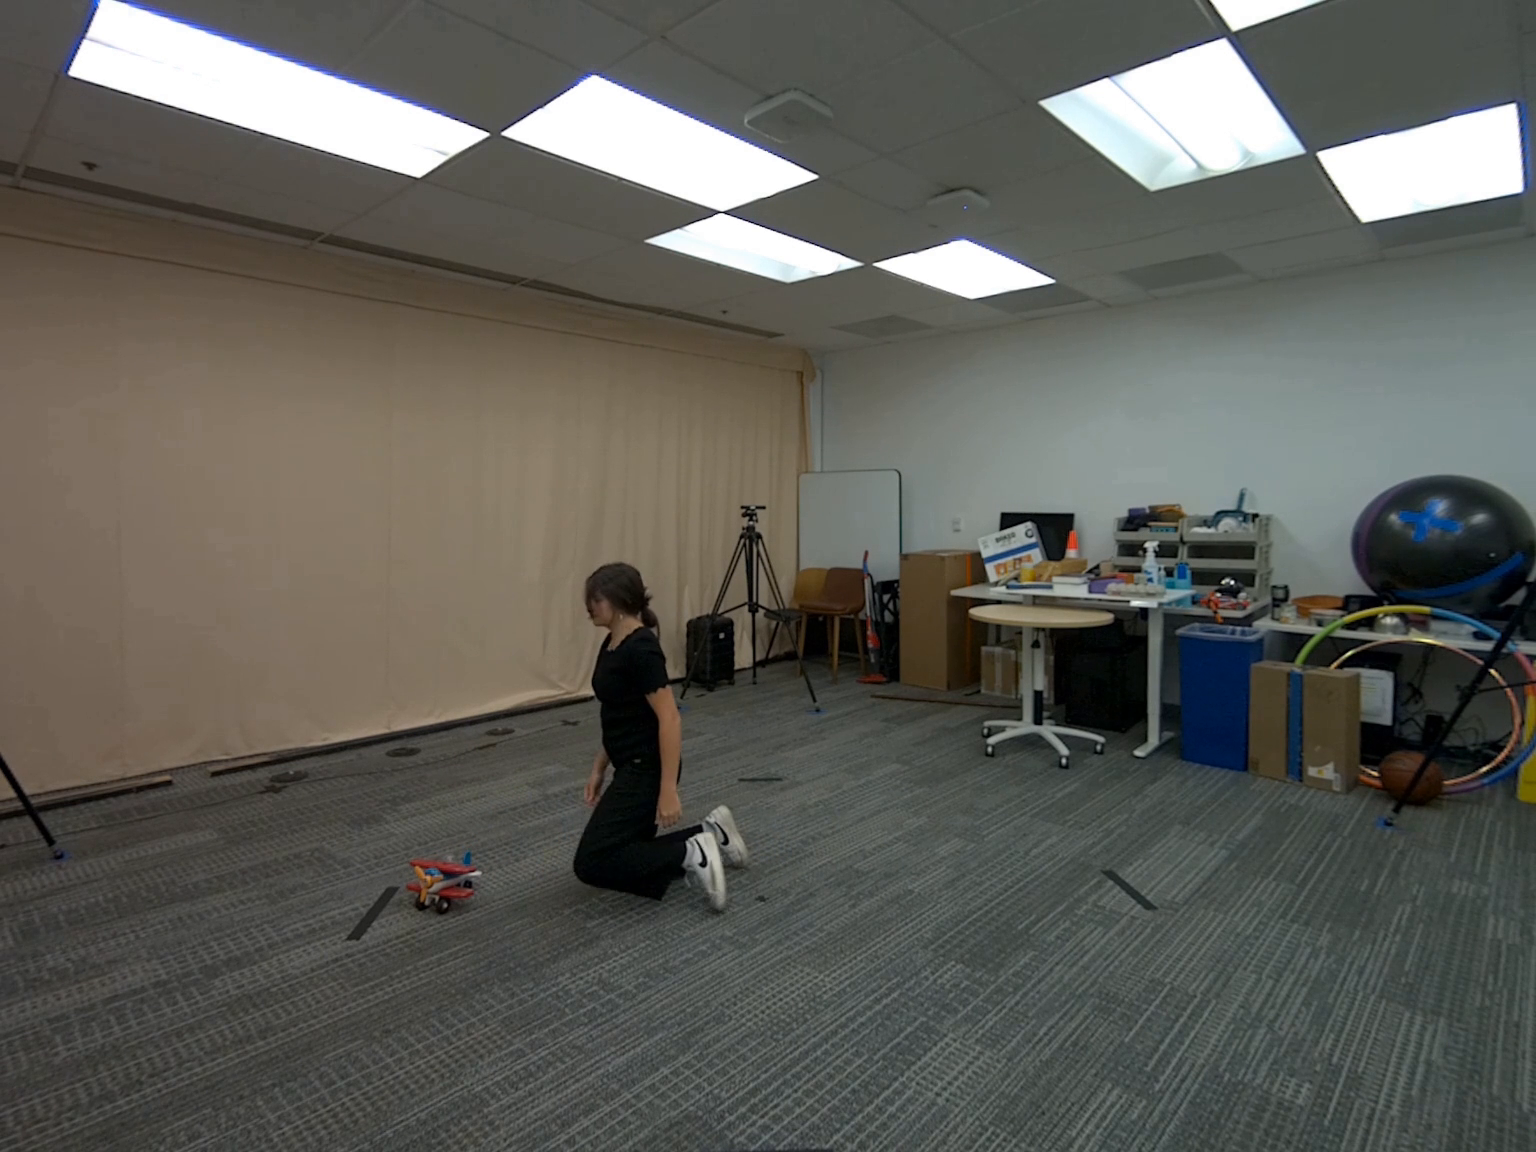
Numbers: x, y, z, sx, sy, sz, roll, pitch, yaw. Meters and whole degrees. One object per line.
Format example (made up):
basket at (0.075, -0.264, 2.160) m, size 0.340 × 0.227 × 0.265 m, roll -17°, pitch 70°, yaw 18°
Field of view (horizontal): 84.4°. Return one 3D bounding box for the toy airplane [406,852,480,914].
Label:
toy airplane at (-1.166, 1.088, 2.996) m, size 0.248 × 0.156 × 0.263 m, roll -2°, pitch 5°, yaw -10°
